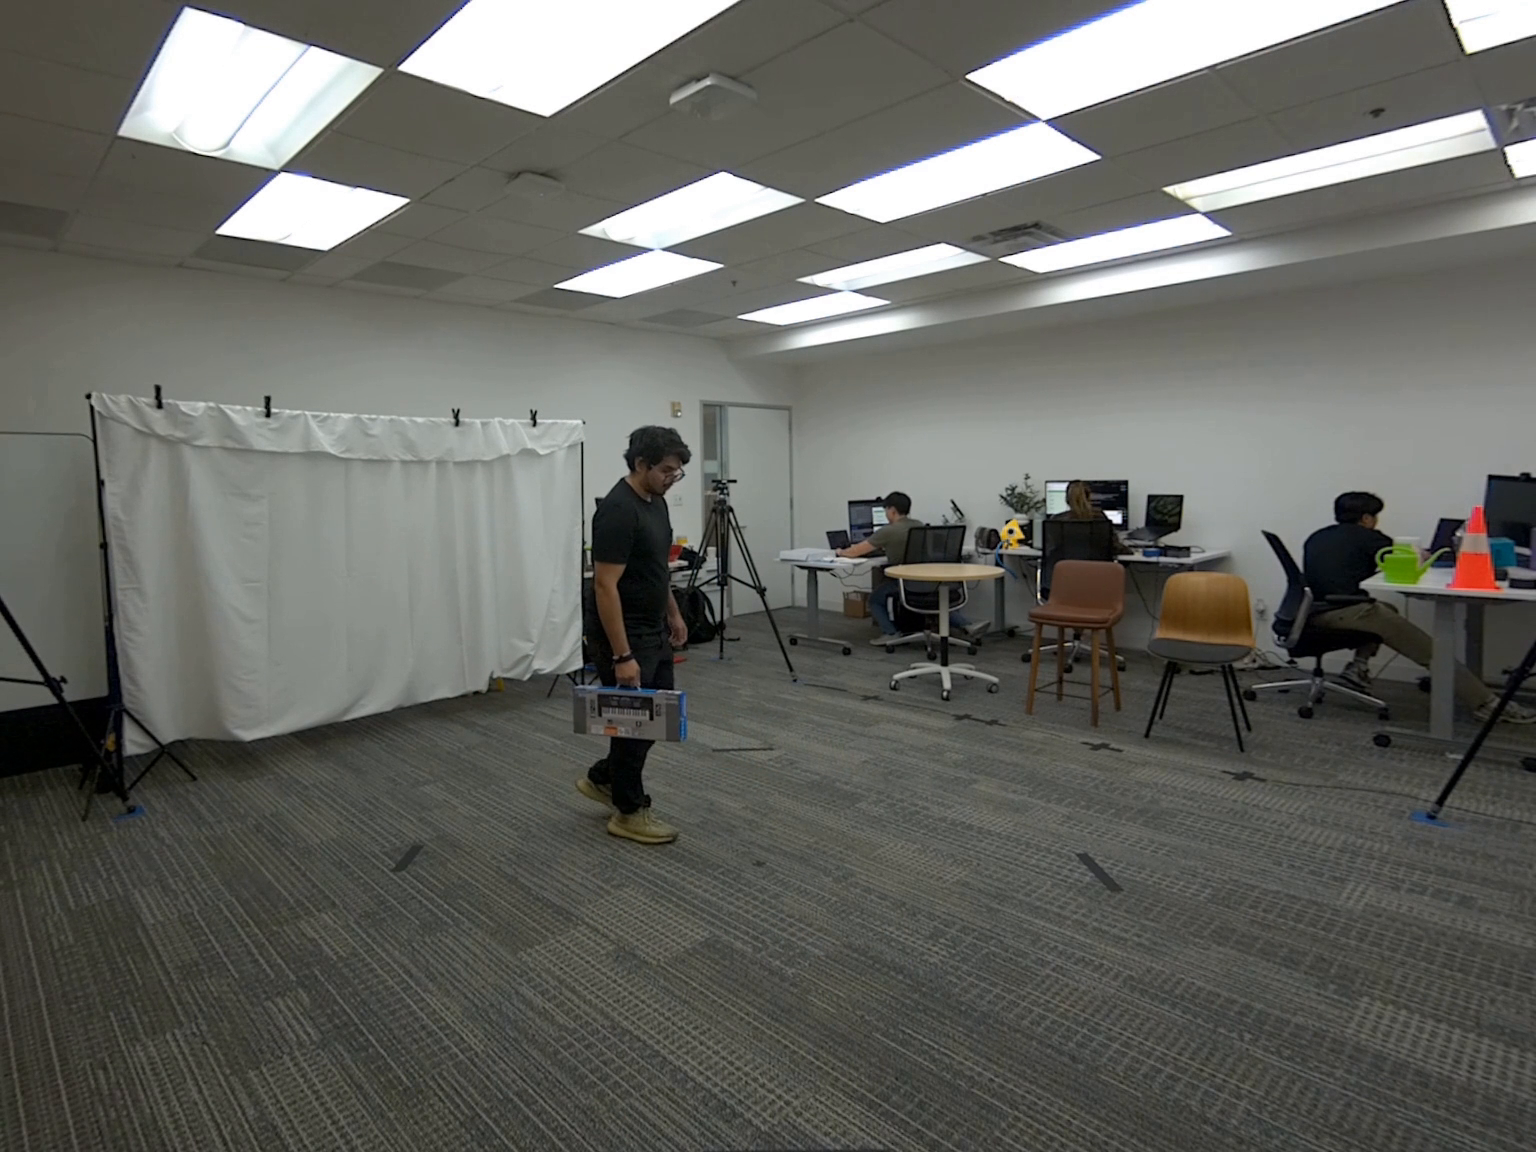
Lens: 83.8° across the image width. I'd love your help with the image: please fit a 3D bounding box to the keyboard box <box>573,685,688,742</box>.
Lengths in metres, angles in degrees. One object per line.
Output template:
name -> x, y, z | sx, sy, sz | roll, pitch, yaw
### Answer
keyboard box -> -0.507, 0.499, 3.123 | 0.445, 0.176, 0.058 | 0, 1, 20
